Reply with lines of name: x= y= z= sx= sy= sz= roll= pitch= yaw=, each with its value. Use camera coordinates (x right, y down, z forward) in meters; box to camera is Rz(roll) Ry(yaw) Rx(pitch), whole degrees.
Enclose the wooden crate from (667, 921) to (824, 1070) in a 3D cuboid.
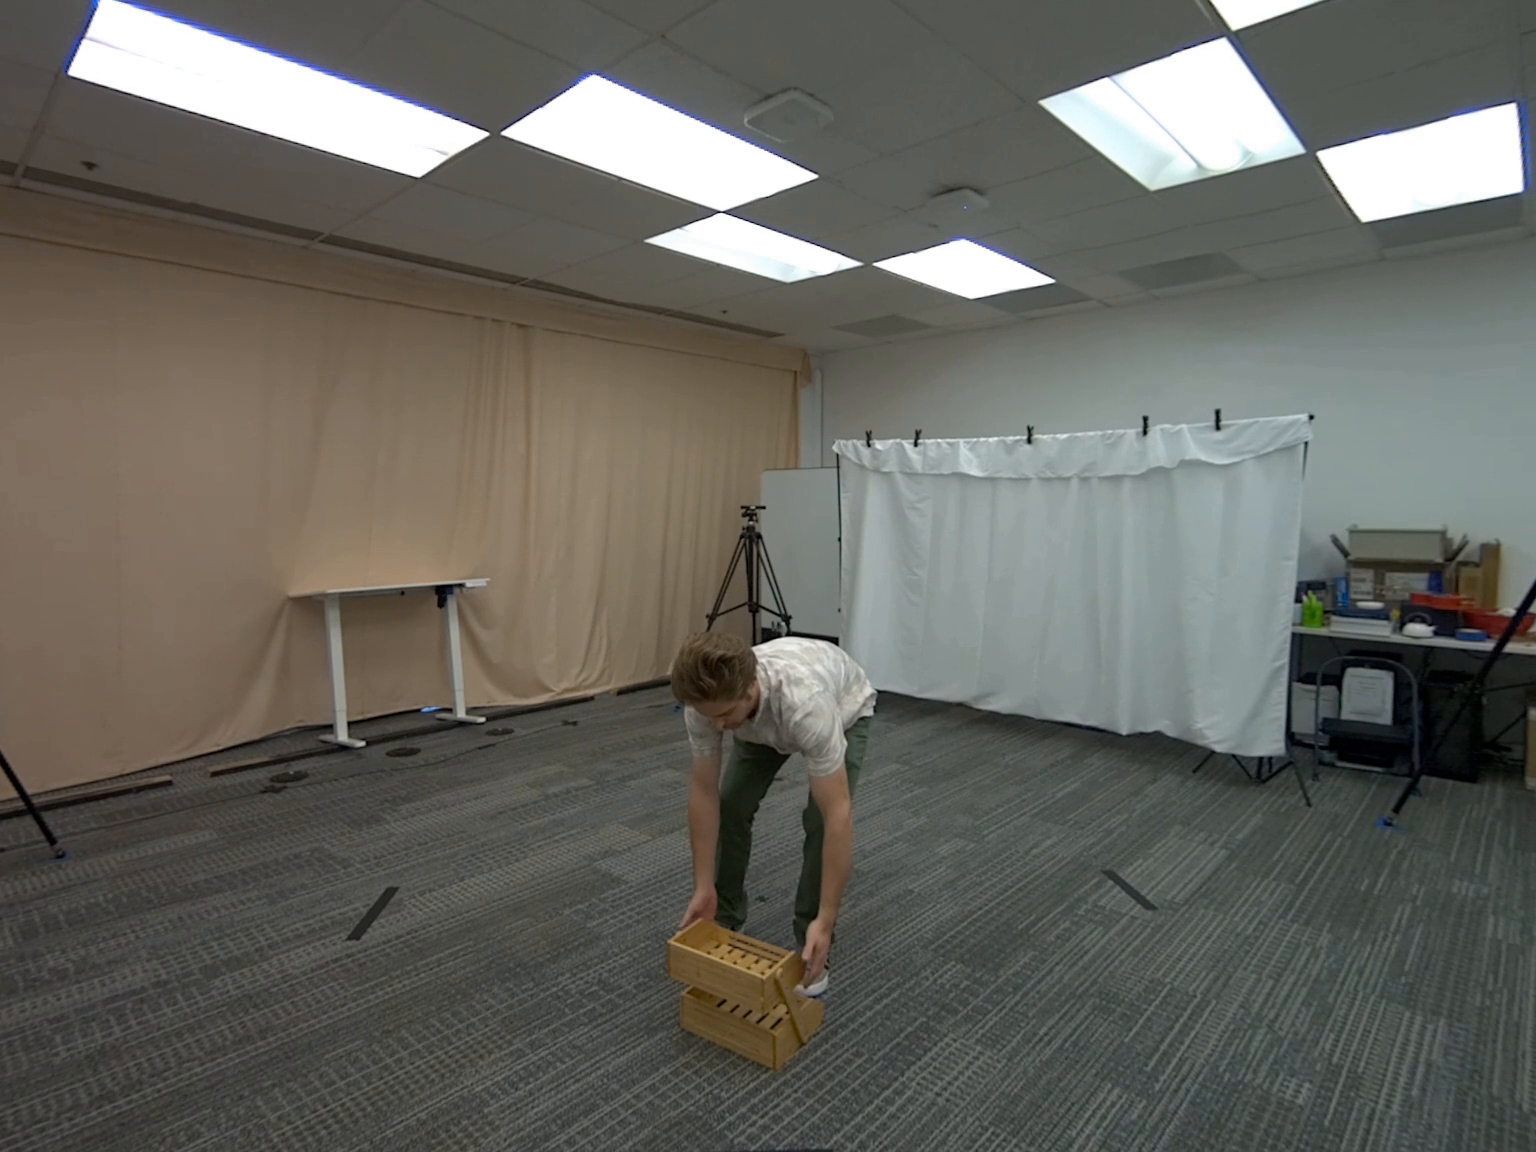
wooden crate: x=-0.047 y=1.074 z=2.228 sx=0.335 sy=0.272 sz=0.293 roll=4 pitch=6 yaw=35
